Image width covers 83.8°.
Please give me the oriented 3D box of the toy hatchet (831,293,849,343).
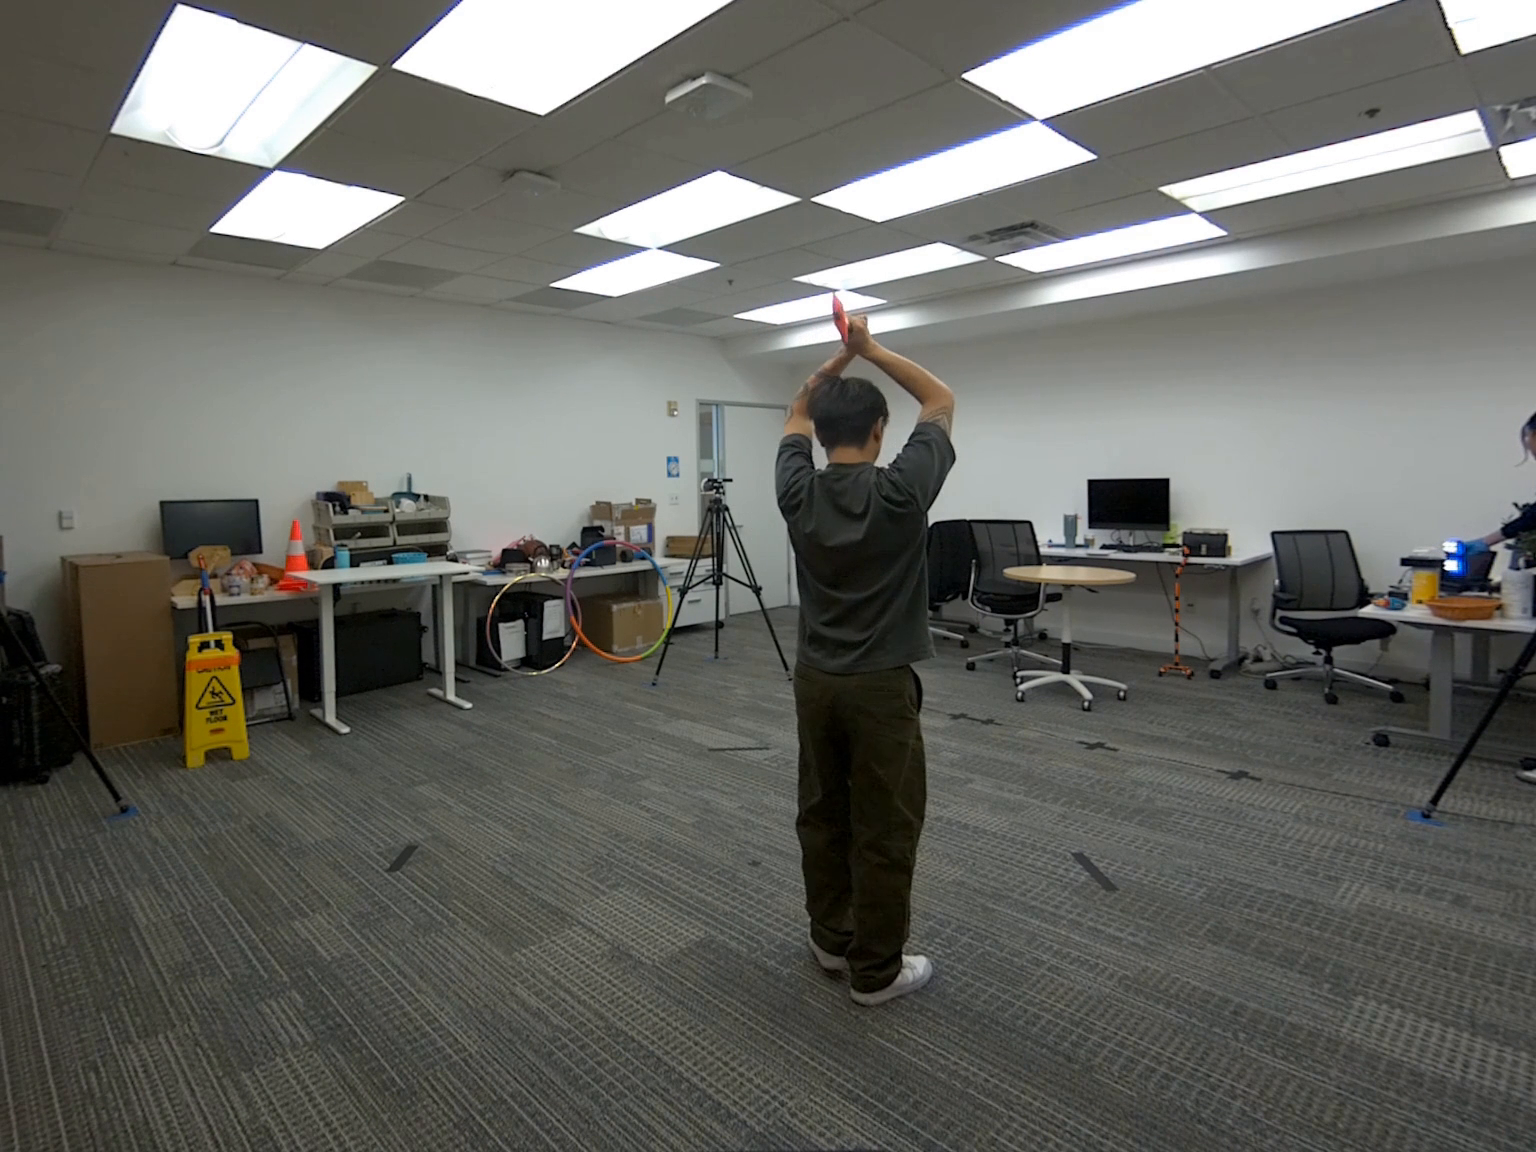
[{"bbox_3d":[0.197,-0.699,2.296,0.030,0.129,0.271,-15,18,18],"label":"toy hatchet"}]
